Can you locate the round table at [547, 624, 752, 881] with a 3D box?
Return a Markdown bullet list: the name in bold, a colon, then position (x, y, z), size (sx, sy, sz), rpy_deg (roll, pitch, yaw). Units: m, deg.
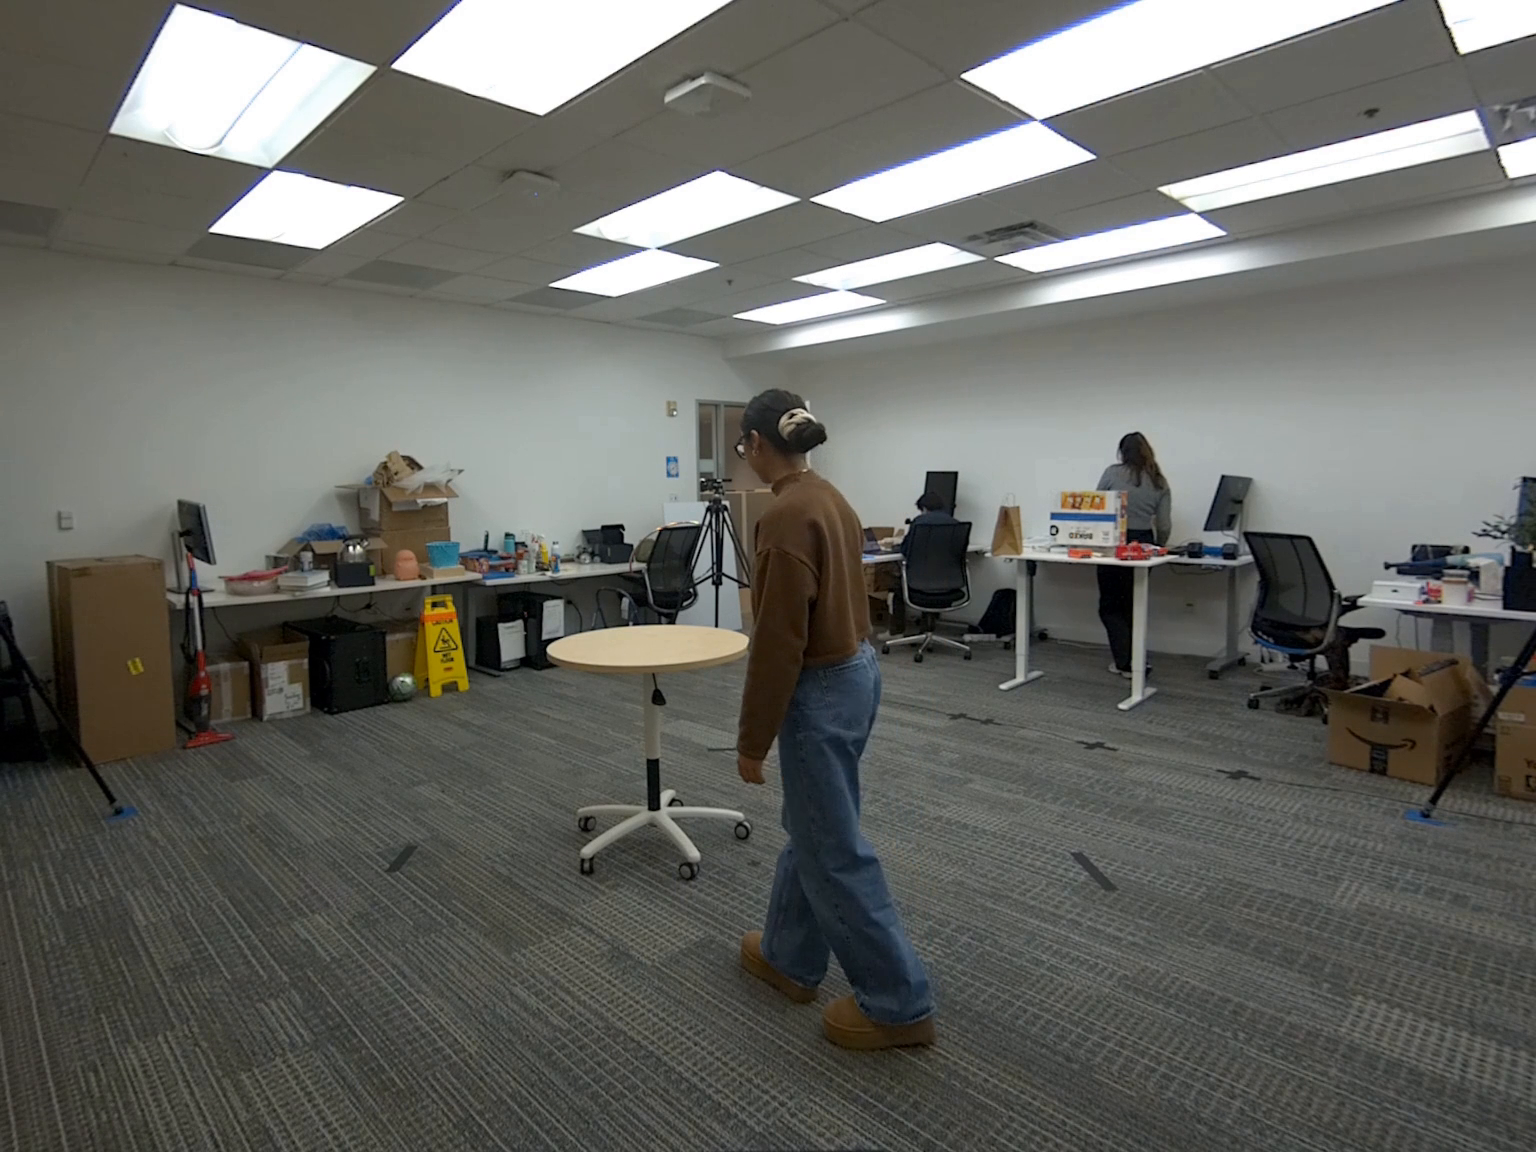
- **round table**: position (-0.444, 0.641, 3.268), size (0.784, 0.784, 0.789), rpy_deg (-1, 5, -2)
